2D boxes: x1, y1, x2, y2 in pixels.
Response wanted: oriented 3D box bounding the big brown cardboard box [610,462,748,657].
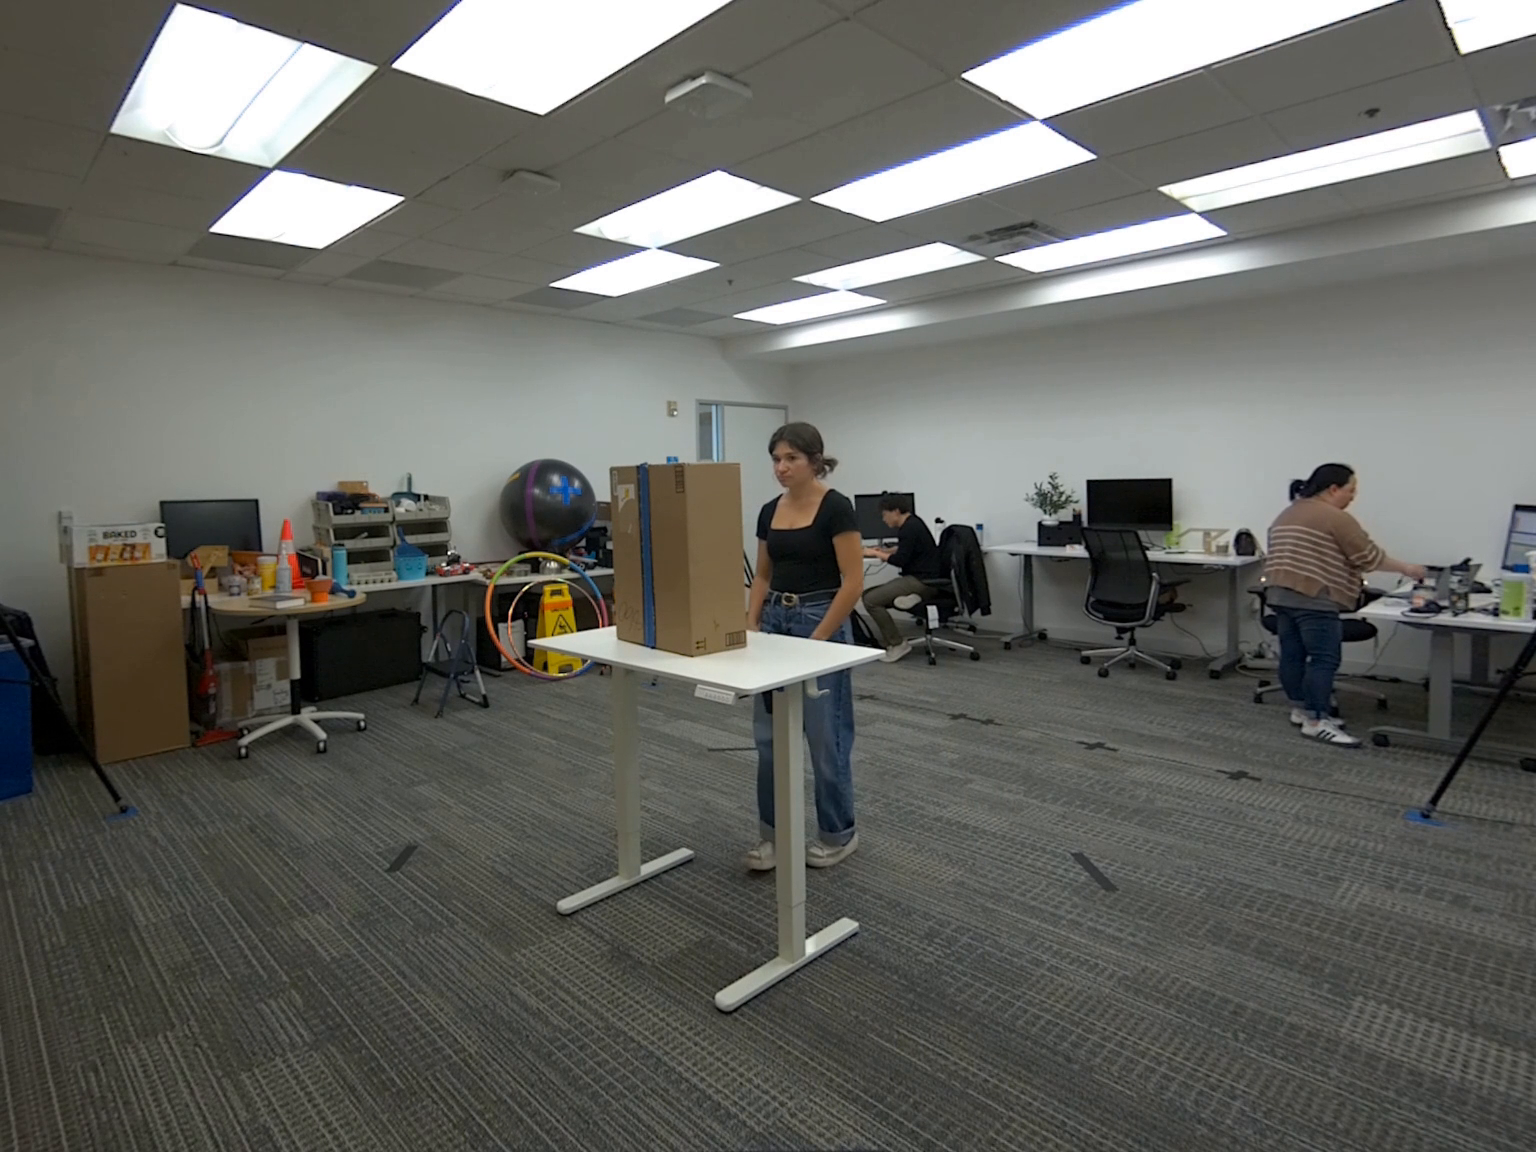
[{"bbox_3d":[-0.286,-0.075,2.692,0.227,0.587,0.430,-5,5,-40],"label":"big brown cardboard box"}]
